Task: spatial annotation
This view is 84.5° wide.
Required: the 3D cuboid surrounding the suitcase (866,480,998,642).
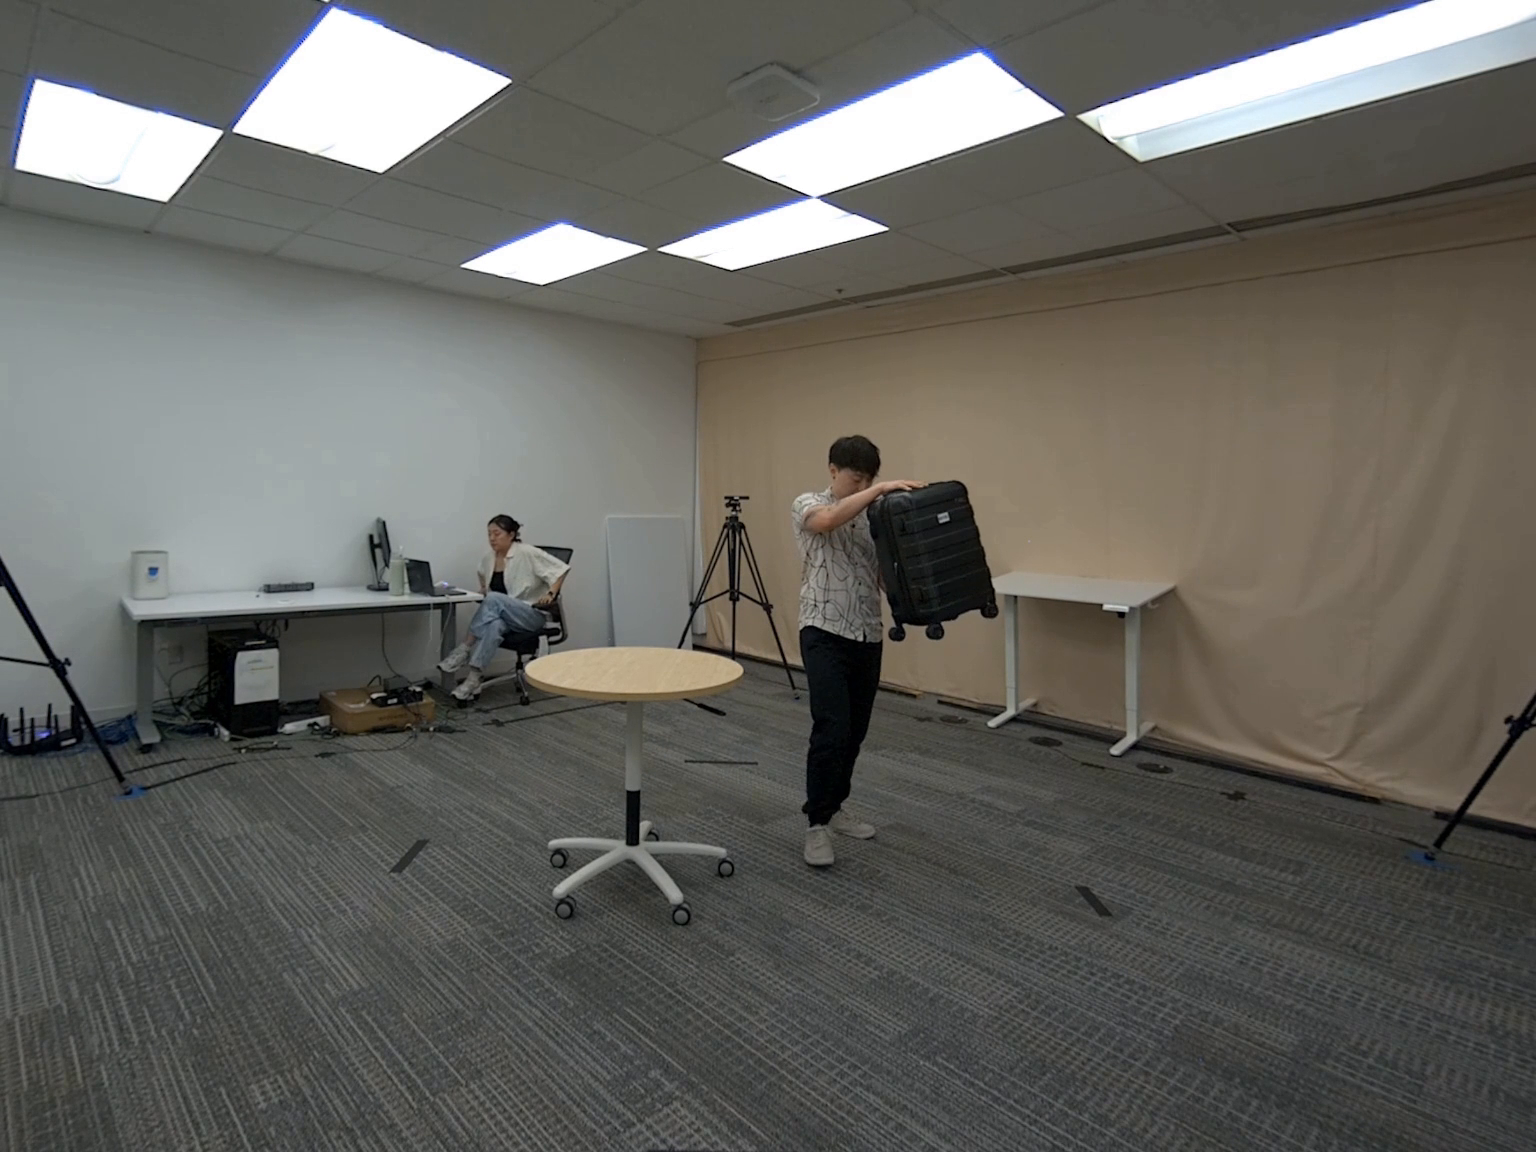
[{"bbox_3d":[0.602,-0.075,3.144,0.369,0.550,0.252,-14,0,-32],"label":"suitcase"}]
